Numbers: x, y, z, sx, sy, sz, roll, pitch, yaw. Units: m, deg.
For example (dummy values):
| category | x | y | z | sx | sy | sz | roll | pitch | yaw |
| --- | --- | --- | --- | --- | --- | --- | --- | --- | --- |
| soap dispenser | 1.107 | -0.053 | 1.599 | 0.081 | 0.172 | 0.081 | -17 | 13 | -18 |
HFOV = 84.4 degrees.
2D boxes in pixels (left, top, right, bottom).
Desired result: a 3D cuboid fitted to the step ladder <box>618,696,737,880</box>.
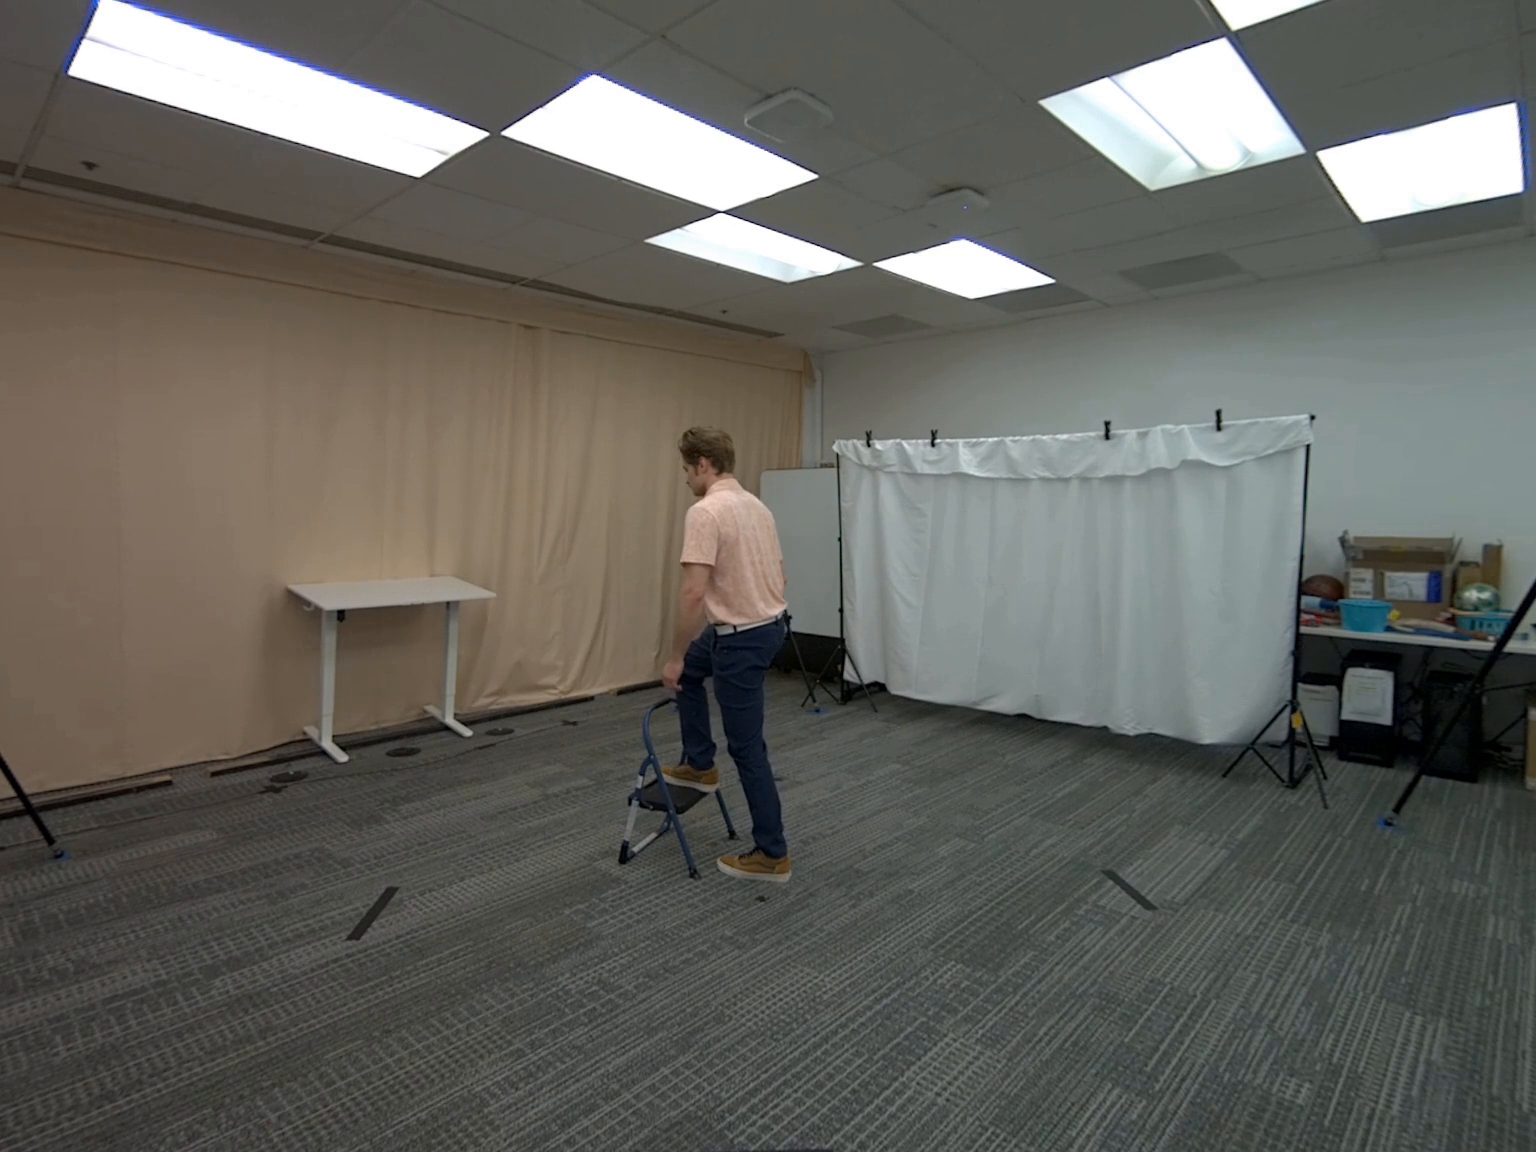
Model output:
| category | x | y | z | sx | sy | sz | roll | pitch | yaw |
| --- | --- | --- | --- | --- | --- | --- | --- | --- | --- |
| step ladder | -0.361 | 0.812 | 3.390 | 0.357 | 0.605 | 0.422 | 0 | 3 | 21 |
